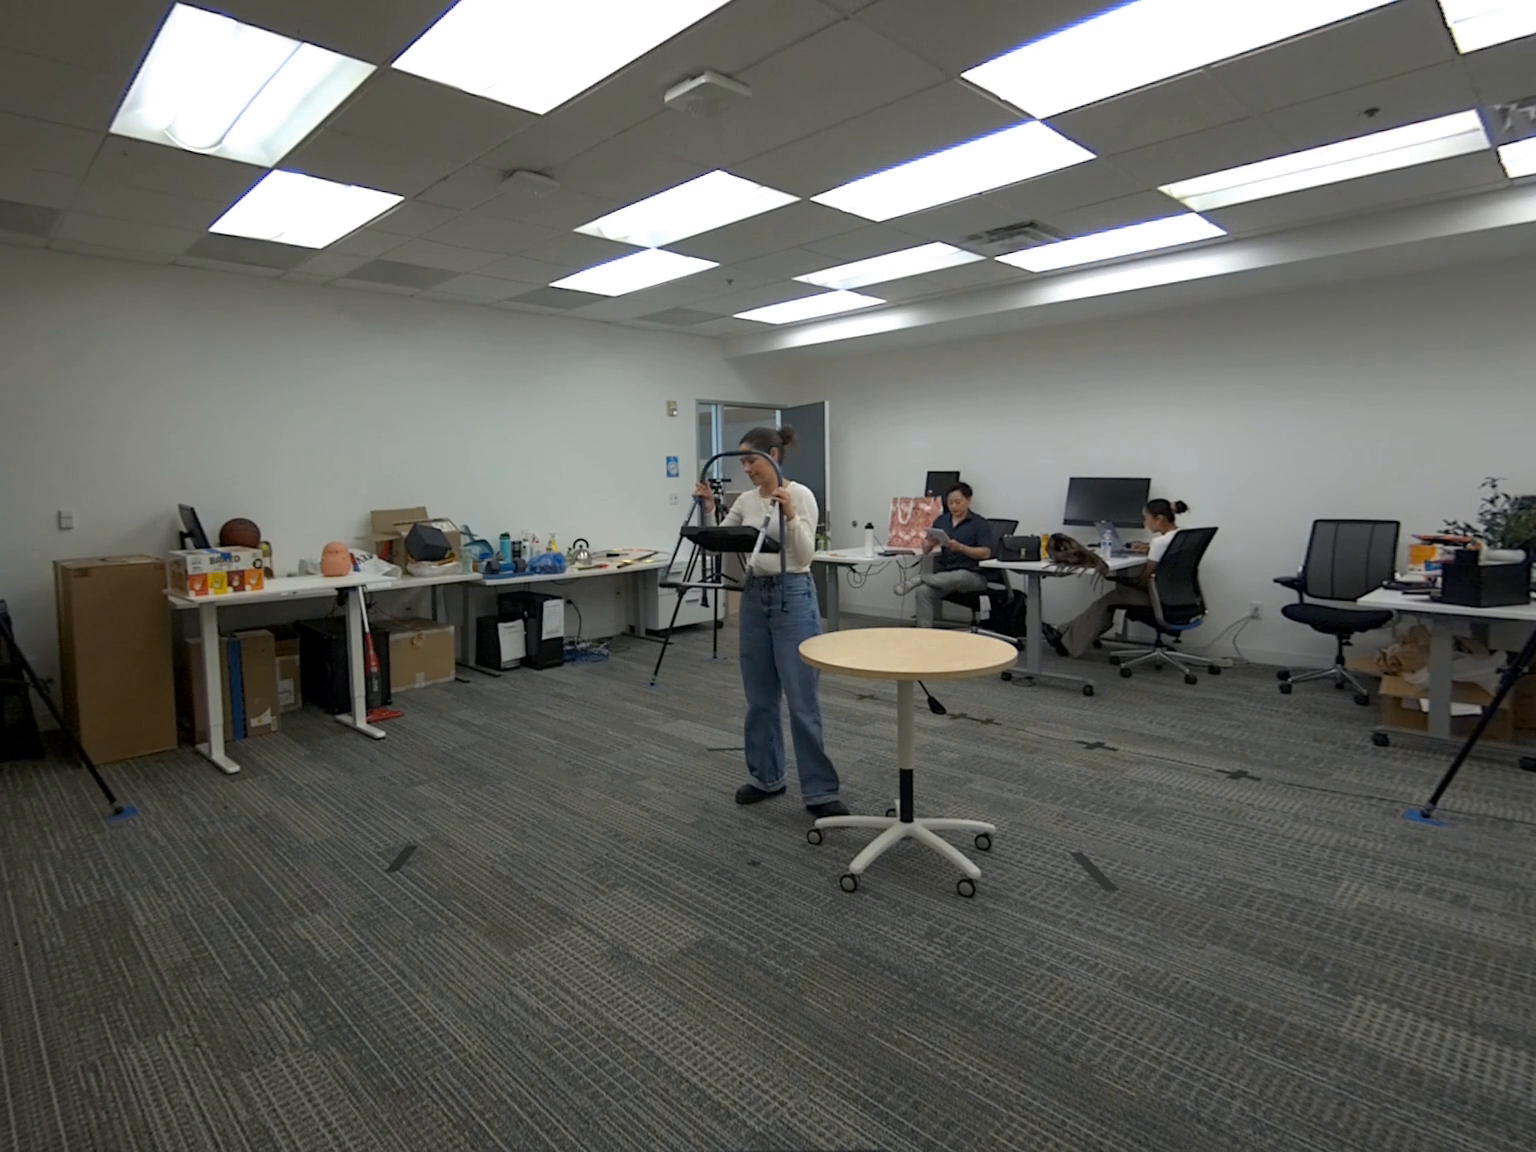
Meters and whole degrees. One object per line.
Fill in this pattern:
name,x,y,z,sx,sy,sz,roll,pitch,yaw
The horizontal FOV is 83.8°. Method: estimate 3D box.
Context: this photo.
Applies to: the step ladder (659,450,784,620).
step ladder,-0.131,-0.197,3.474,0.442,0.612,0.337,0,-15,32
